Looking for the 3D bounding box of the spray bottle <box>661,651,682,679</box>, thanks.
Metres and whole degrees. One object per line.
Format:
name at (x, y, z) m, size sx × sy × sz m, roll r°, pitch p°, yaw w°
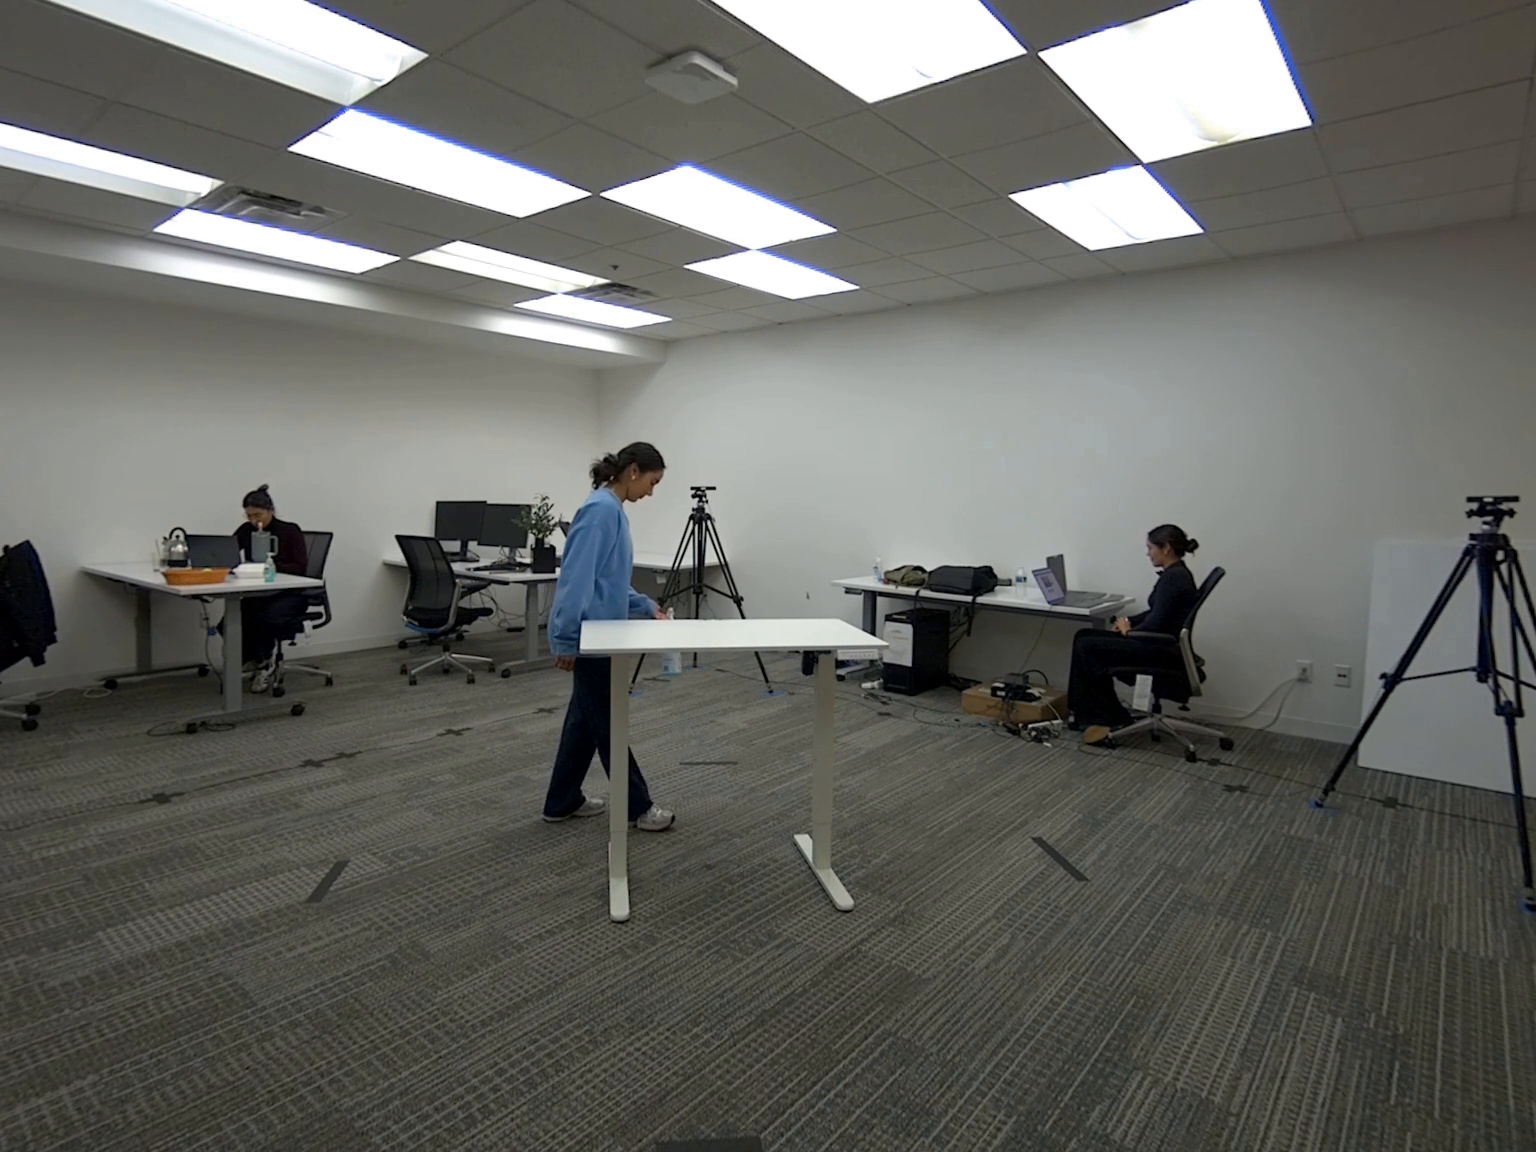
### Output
spray bottle at (-0.447, 0.295, 3.780) m, size 0.088 × 0.299 × 0.088 m, roll -4°, pitch -7°, yaw 9°
